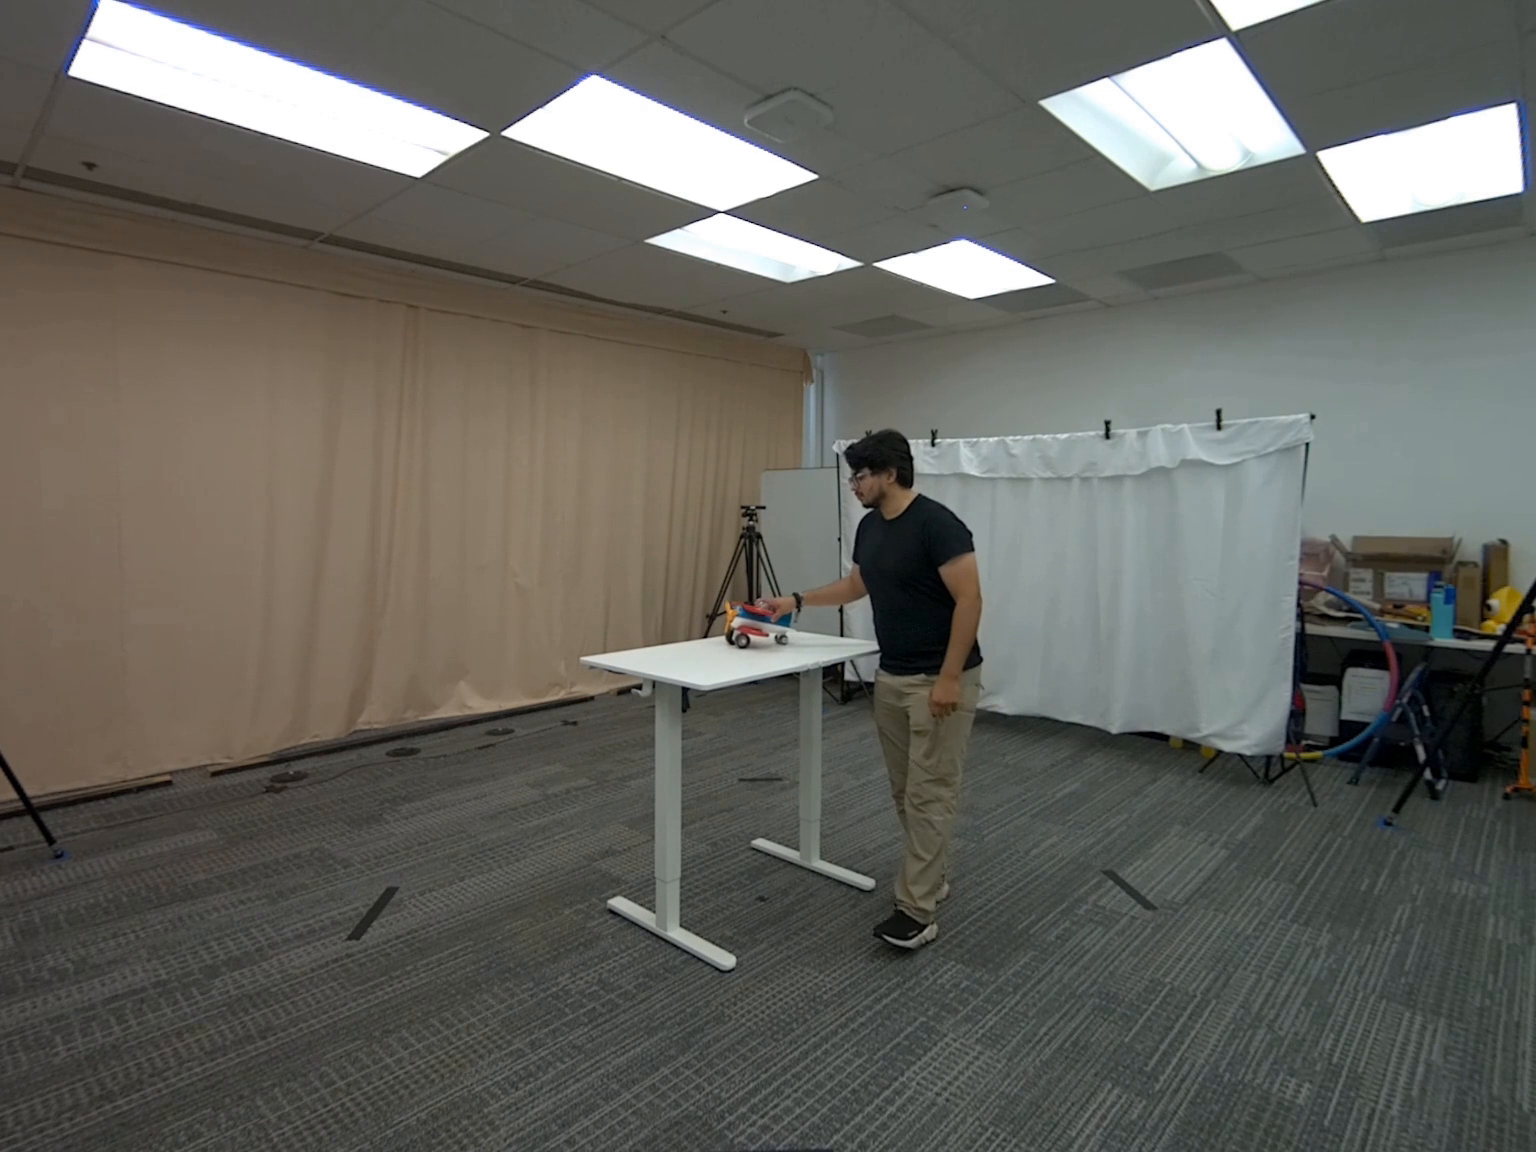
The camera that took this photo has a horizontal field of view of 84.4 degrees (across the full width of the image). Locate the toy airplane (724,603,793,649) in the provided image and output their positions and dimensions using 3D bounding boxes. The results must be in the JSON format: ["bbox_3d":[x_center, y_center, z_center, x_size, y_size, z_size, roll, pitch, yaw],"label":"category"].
[{"bbox_3d":[-0.036,0.177,3.082,0.259,0.156,0.251,4,6,39],"label":"toy airplane"}]
